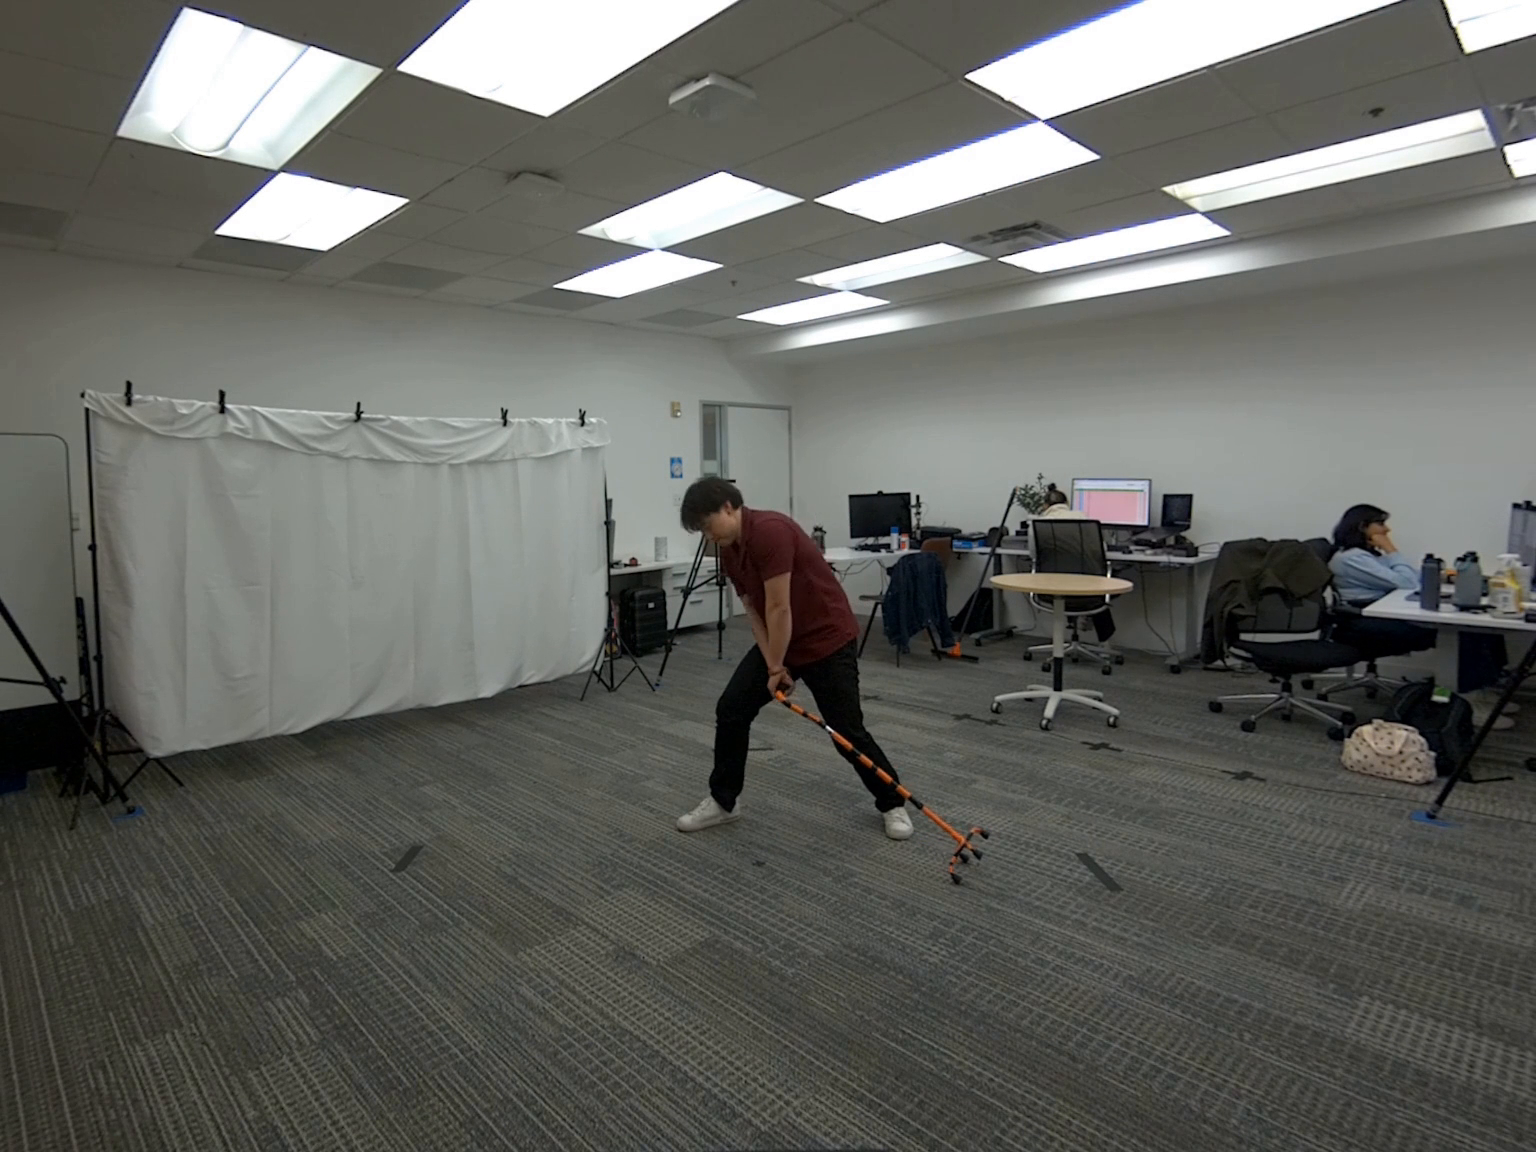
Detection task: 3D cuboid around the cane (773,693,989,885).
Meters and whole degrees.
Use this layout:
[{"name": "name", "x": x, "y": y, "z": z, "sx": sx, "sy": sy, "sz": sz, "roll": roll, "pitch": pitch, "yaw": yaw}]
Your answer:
[{"name": "cane", "x": 0.381, "y": 0.713, "z": 3.122, "sx": 0.929, "sy": 0.151, "sz": 0.202, "roll": 38, "pitch": 17, "yaw": 17}]
